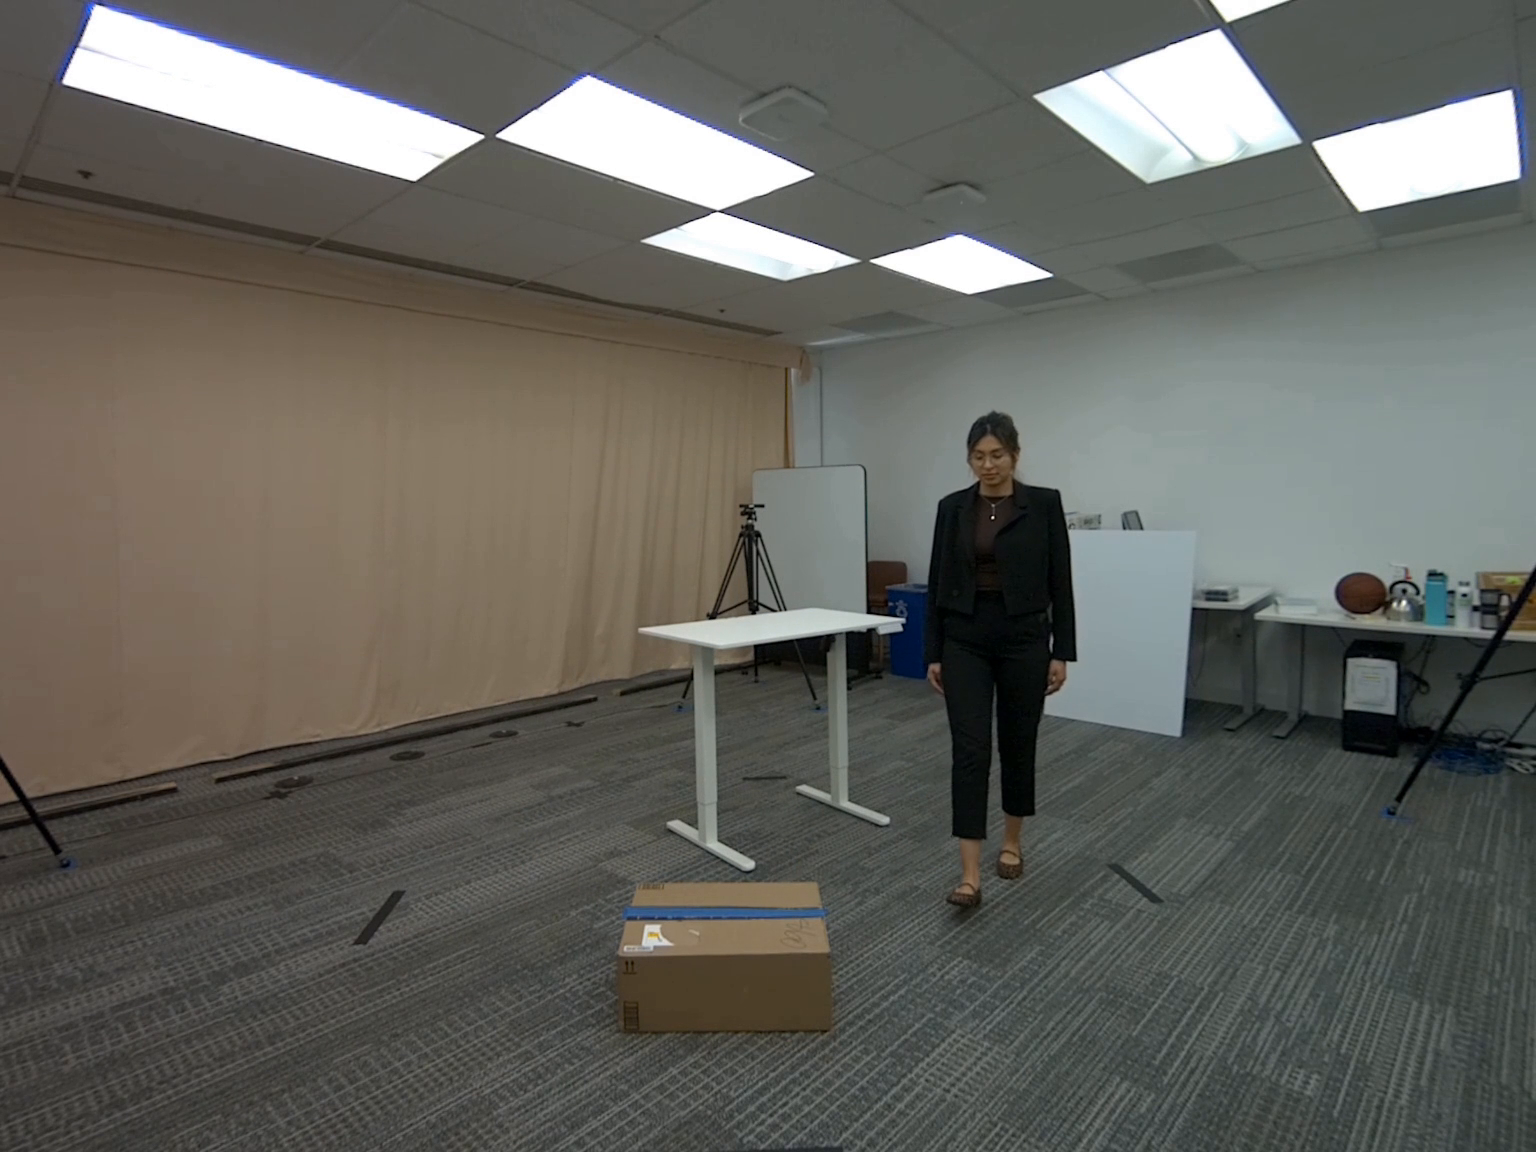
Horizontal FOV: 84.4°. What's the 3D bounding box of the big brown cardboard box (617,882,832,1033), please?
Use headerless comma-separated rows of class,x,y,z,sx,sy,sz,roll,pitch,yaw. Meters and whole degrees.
big brown cardboard box,-0.119,1.079,2.420,0.589,0.232,0.419,0,5,-1
